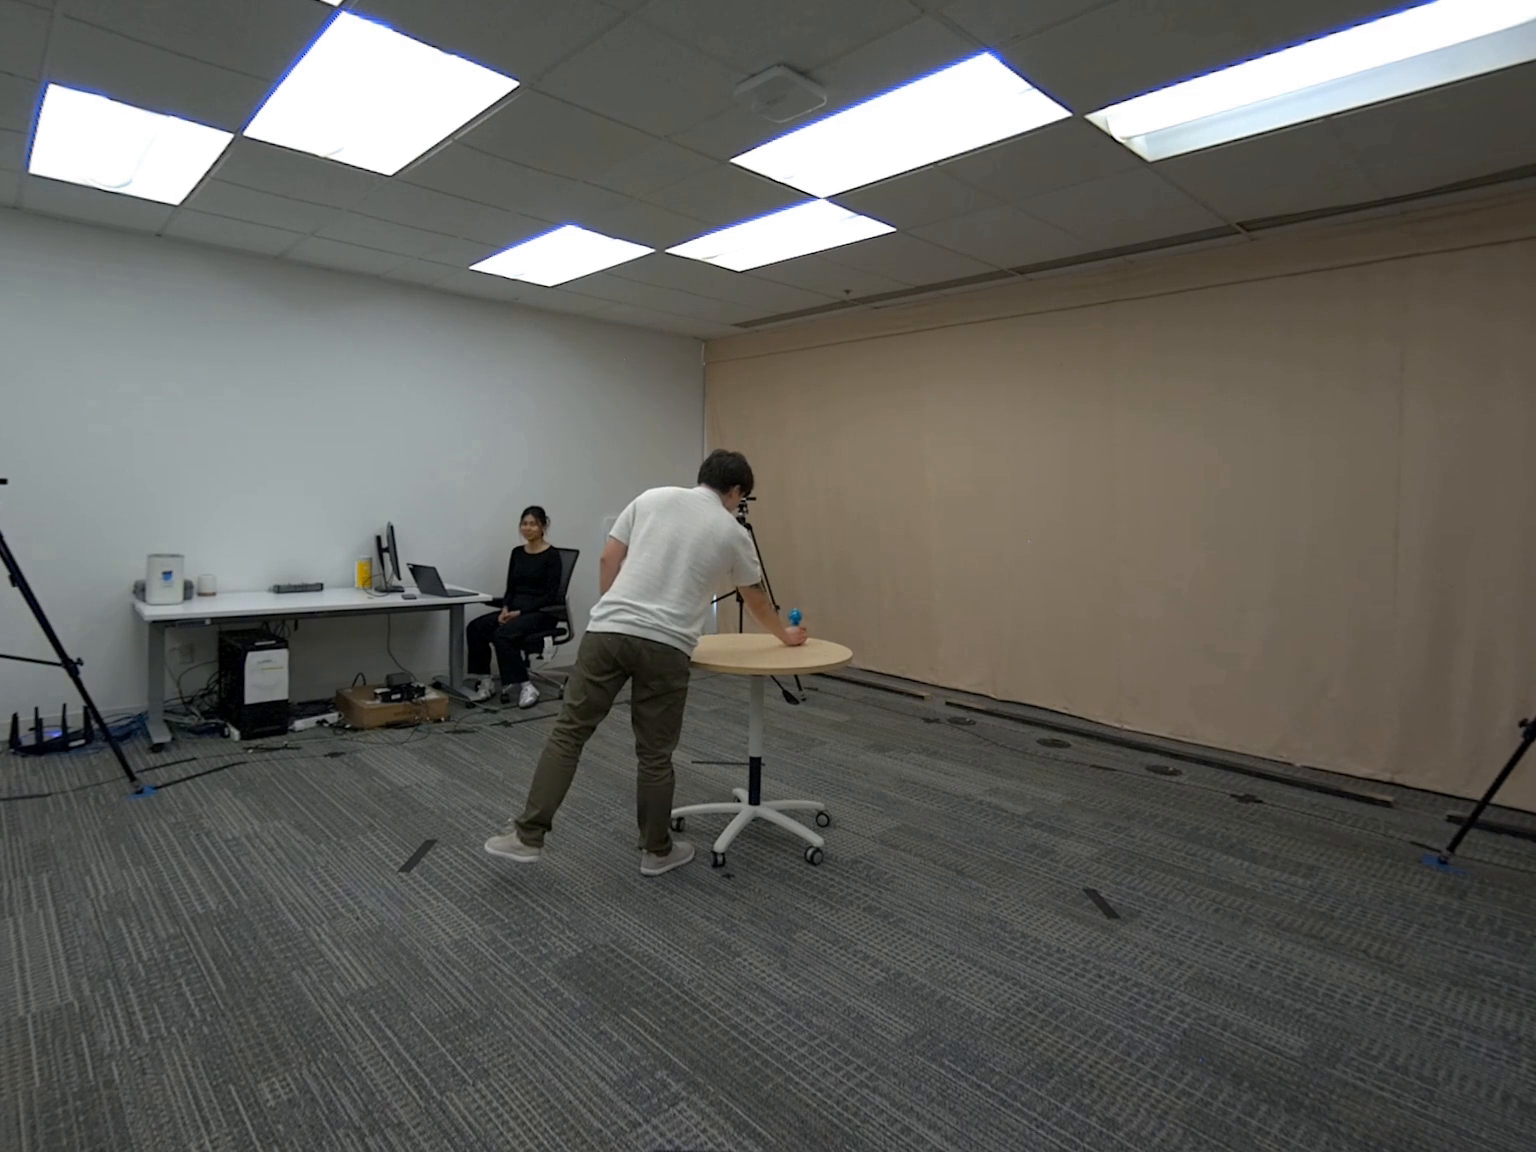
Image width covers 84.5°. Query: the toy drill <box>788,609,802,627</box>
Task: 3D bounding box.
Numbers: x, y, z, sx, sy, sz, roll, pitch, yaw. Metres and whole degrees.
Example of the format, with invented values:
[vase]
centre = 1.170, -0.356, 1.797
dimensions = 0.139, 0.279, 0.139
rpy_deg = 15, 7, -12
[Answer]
[toy drill]
centre = 0.098, 0.207, 3.618
dimensions = 0.061, 0.145, 0.171
rpy_deg = -1, 4, -5
